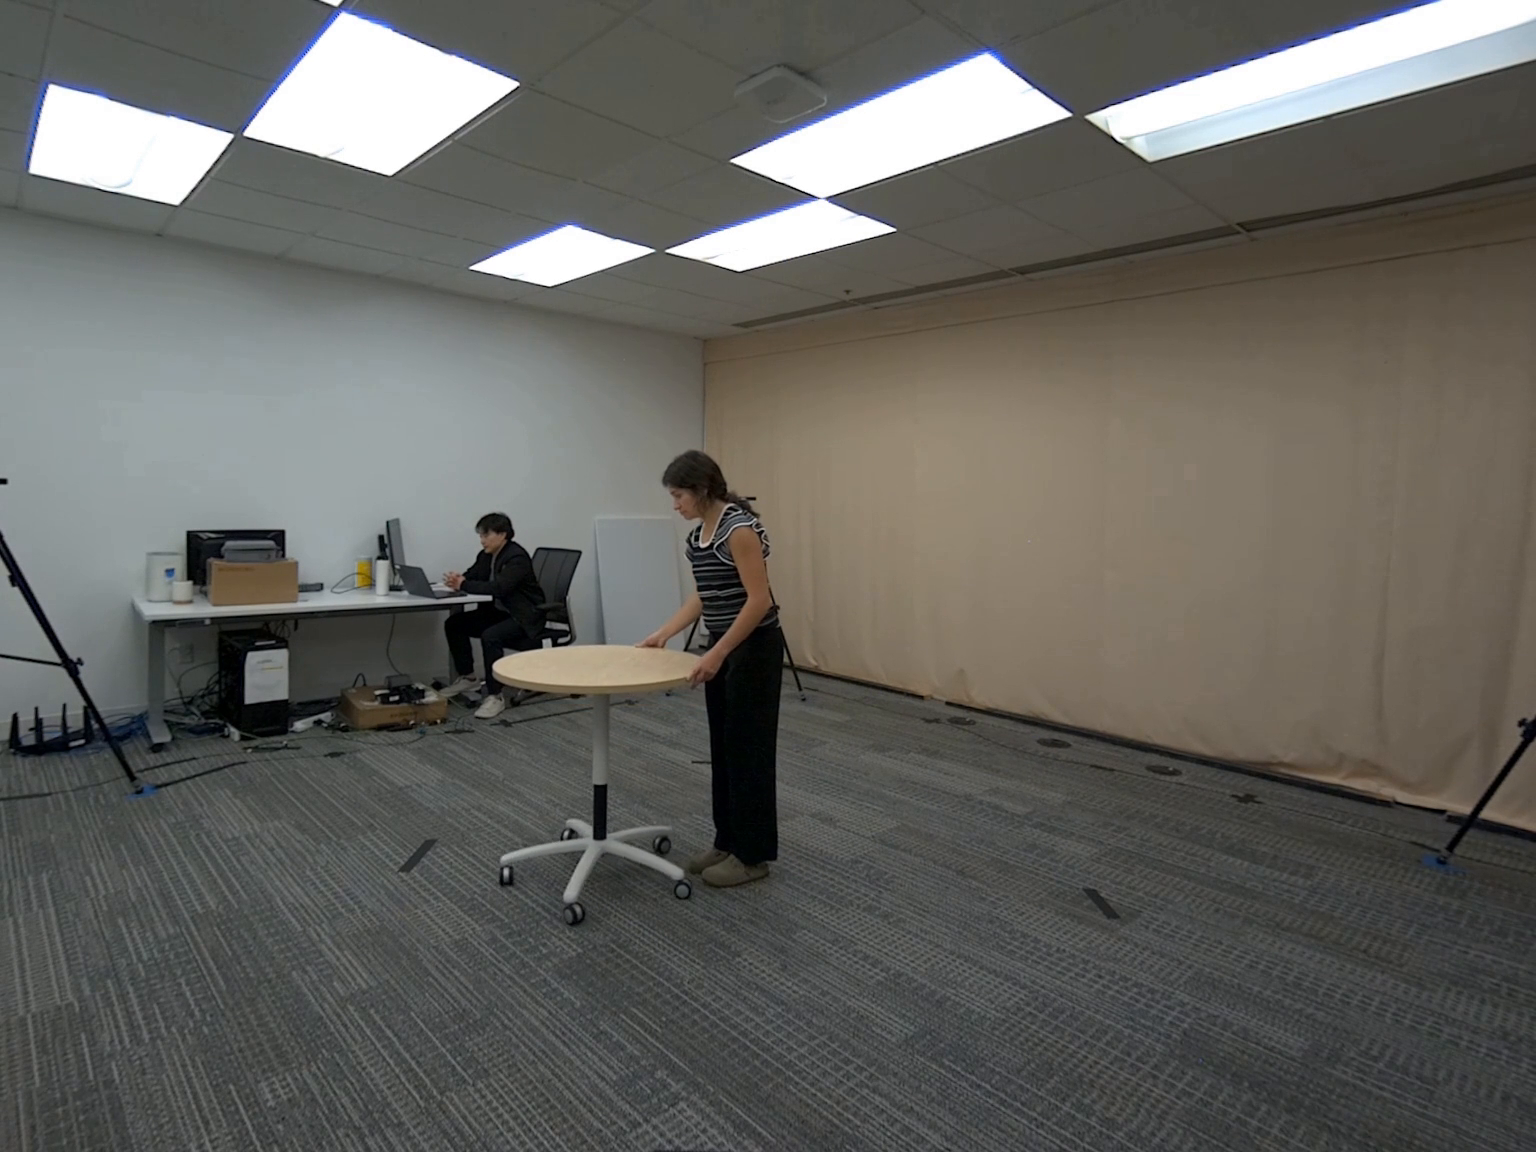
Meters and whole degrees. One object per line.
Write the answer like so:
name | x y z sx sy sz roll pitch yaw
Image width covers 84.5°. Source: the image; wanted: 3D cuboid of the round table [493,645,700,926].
round table | -0.599 0.704 3.061 0.784 0.784 0.788 1 4 -1
